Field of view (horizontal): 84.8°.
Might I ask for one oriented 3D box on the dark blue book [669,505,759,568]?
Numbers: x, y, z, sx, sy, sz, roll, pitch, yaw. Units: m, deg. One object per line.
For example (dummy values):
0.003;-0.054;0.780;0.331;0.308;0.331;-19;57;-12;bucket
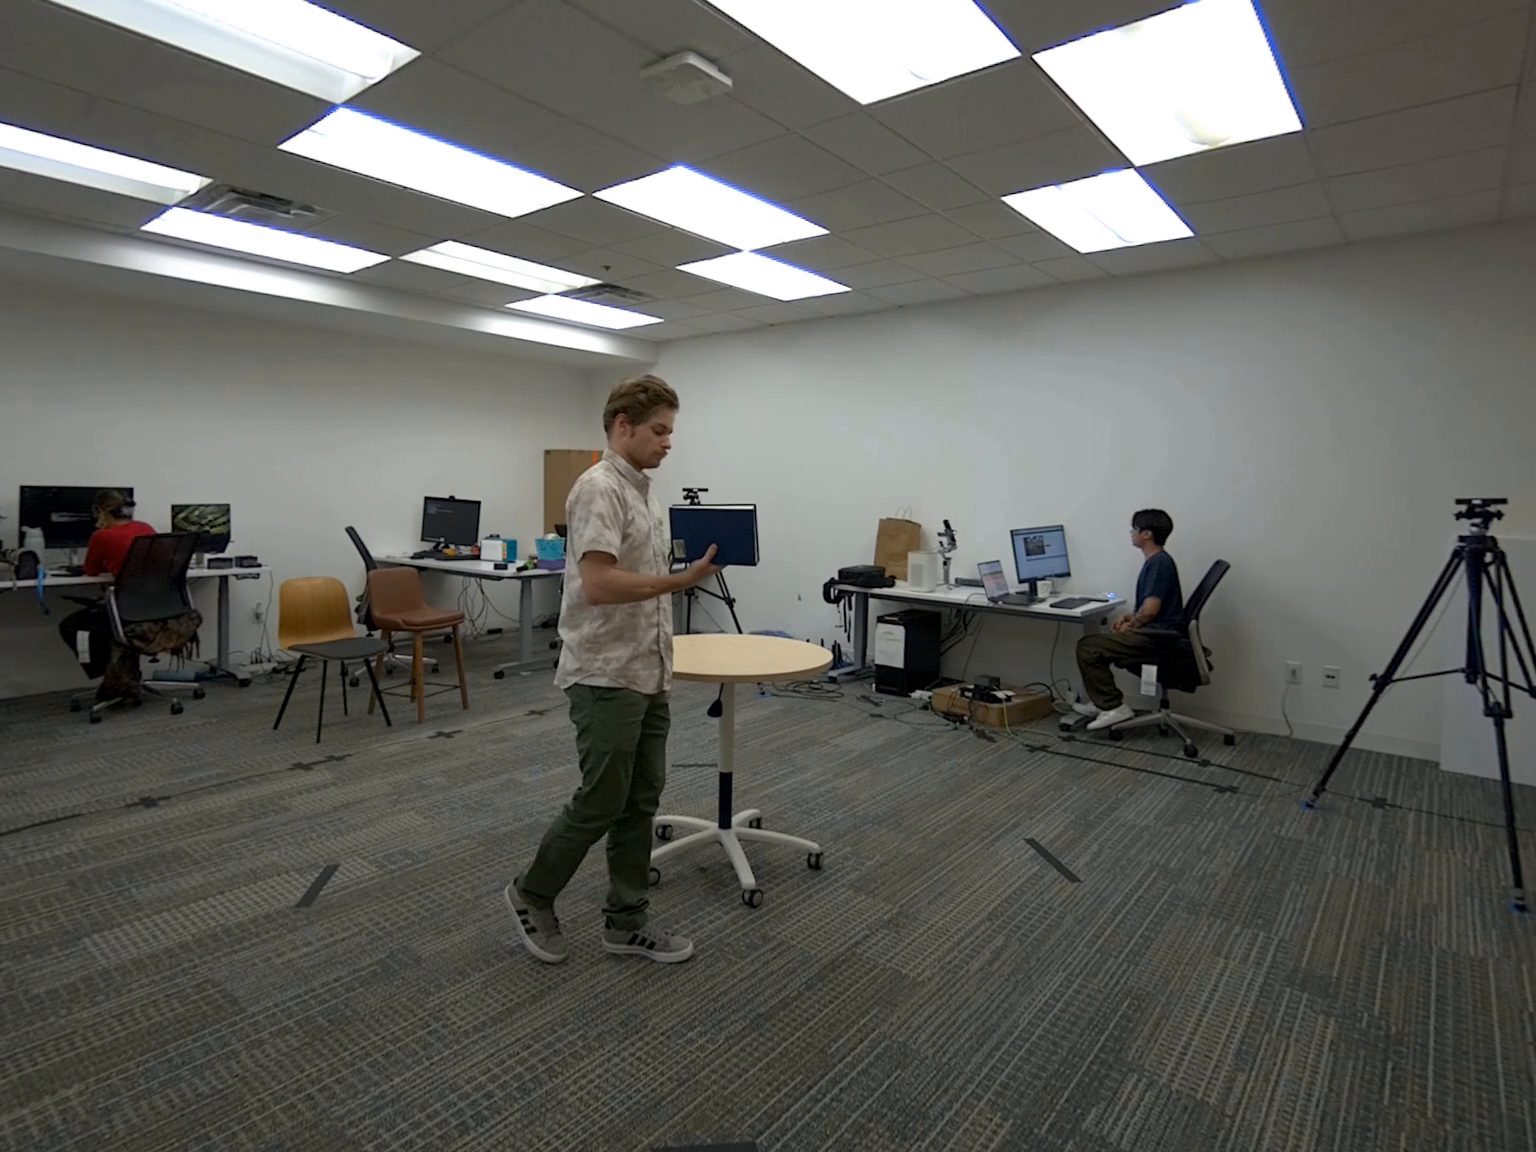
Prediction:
-0.162;-0.117;2.341;0.249;0.161;0.045;1;14;16;dark blue book
